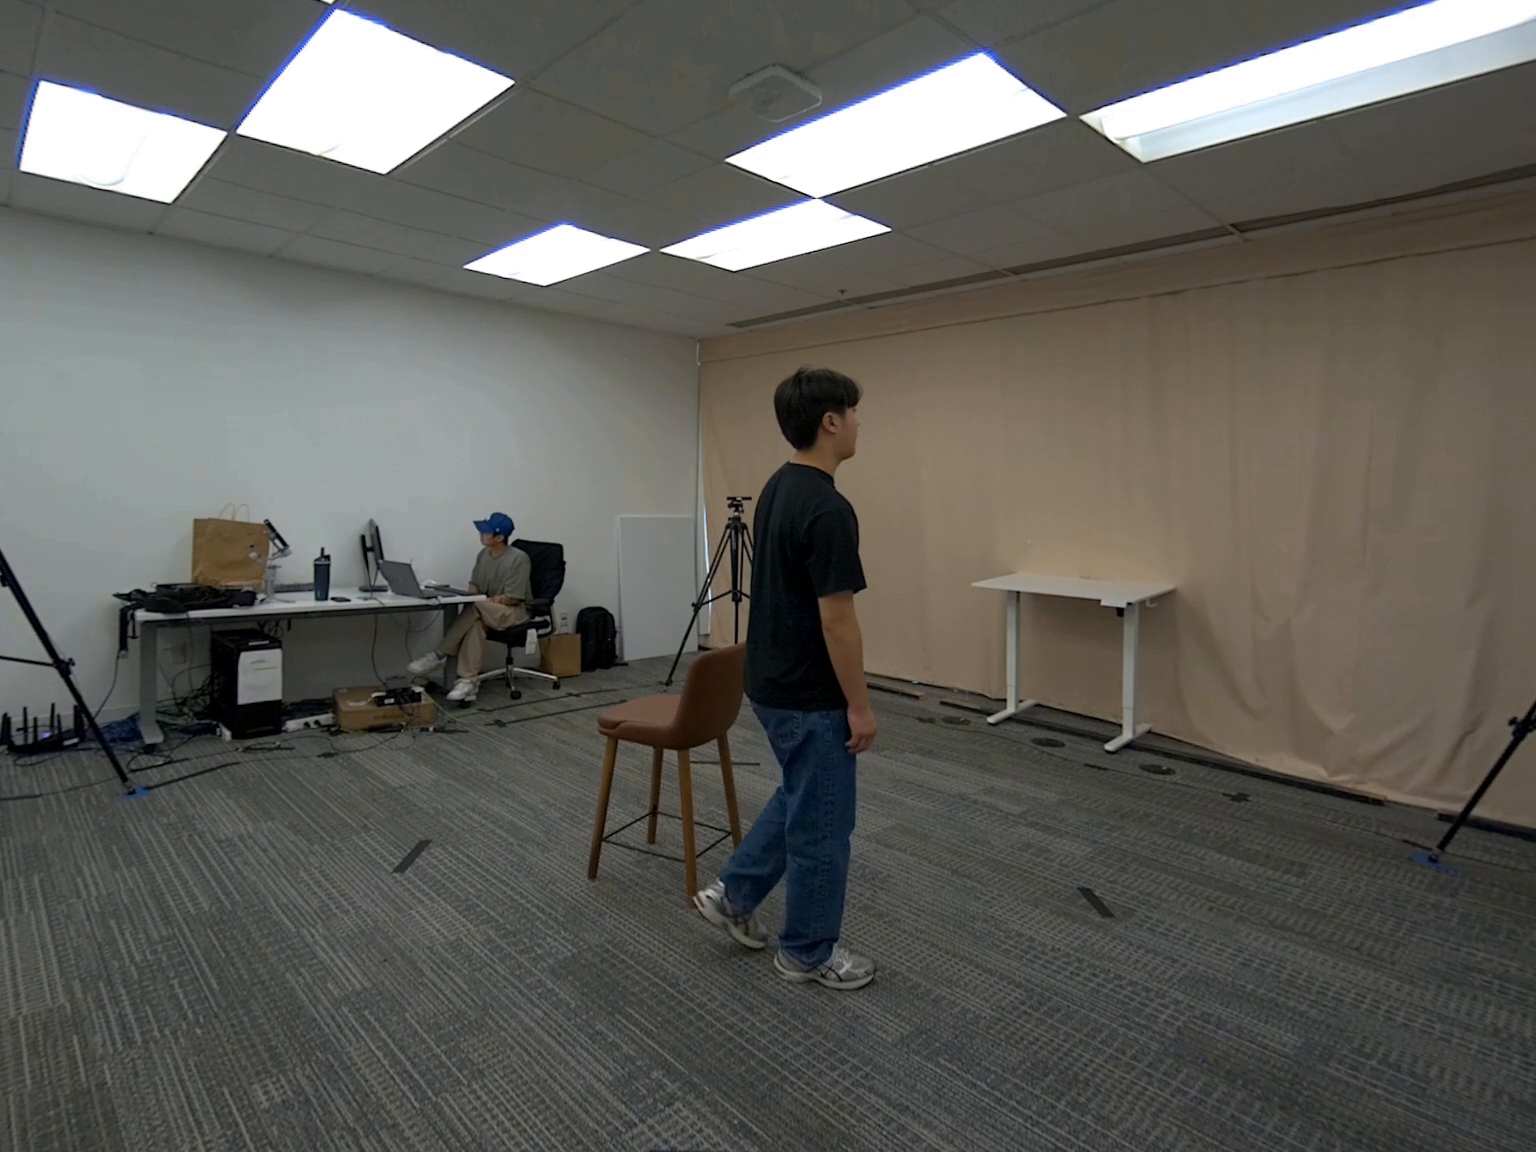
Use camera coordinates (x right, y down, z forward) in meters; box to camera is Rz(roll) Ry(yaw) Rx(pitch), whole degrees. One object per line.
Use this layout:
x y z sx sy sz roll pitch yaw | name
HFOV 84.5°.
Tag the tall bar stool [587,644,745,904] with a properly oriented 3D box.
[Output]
-0.355 0.669 3.089 0.478 0.887 0.448 5 5 29 | tall bar stool
